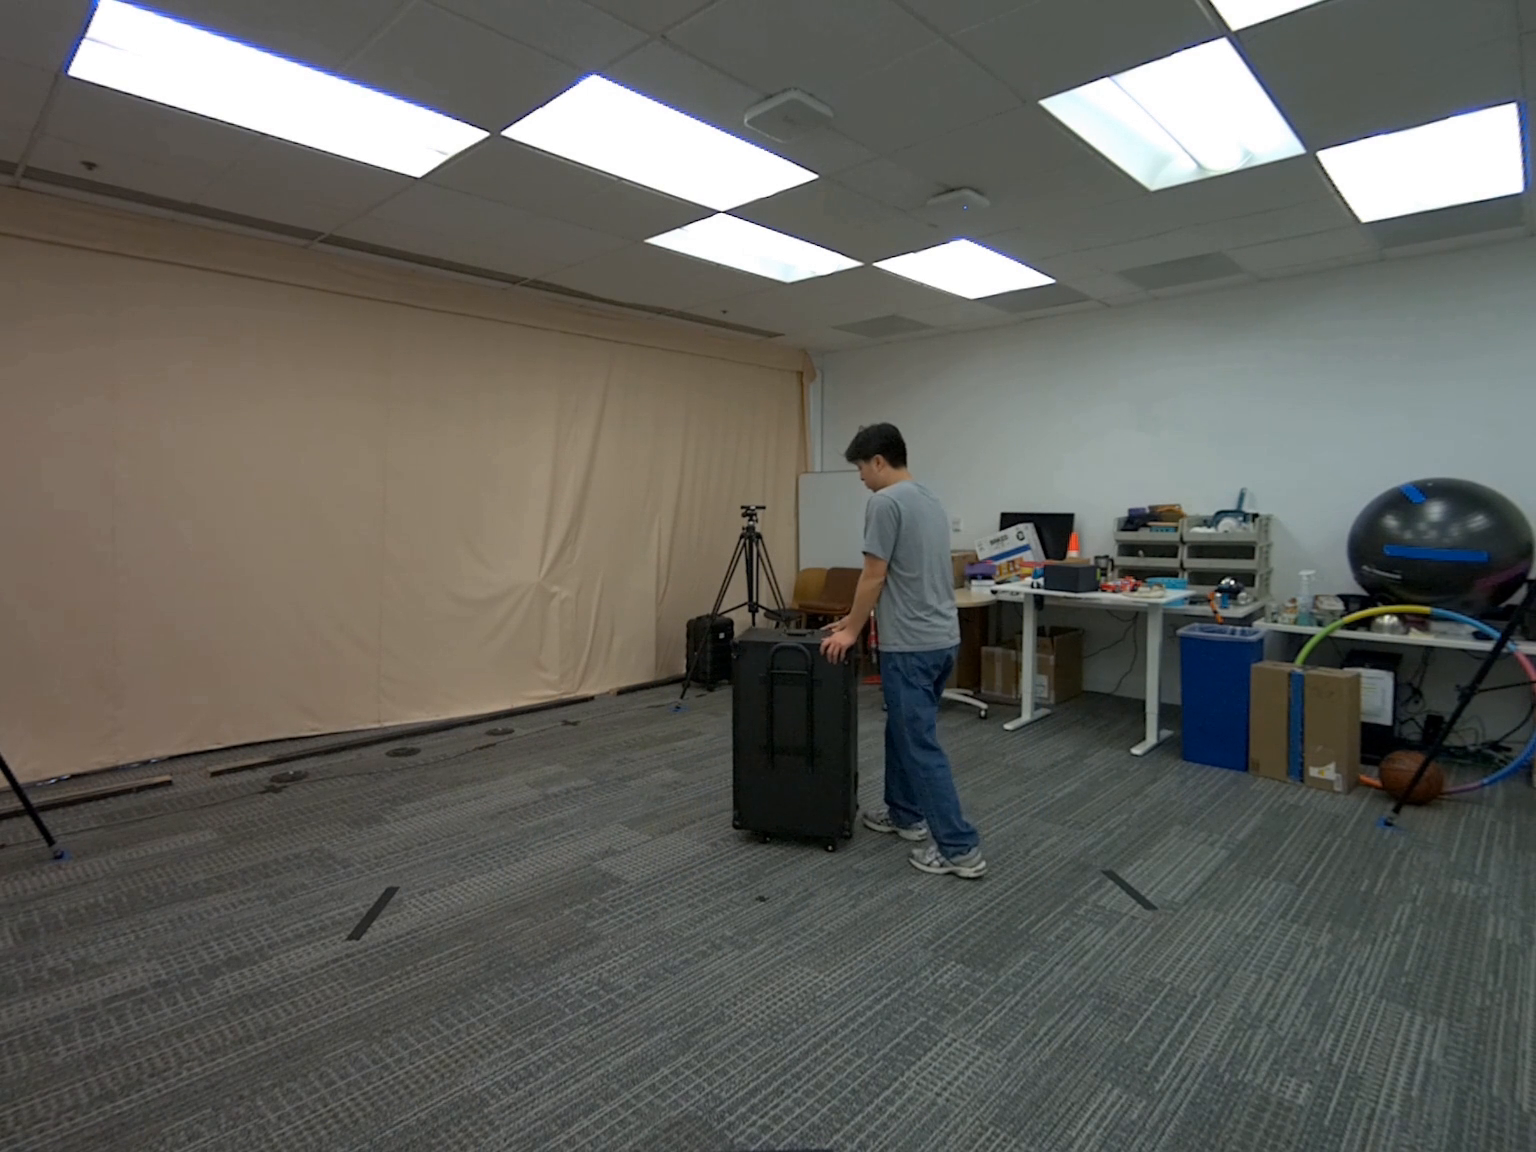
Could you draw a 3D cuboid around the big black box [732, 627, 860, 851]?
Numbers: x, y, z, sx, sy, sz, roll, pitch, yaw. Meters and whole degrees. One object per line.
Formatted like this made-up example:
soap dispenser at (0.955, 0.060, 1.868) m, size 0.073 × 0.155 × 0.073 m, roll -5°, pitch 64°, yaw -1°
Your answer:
big black box at (0.126, 0.679, 3.533) m, size 0.529 × 0.859 × 0.391 m, roll 1°, pitch 3°, yaw 14°
